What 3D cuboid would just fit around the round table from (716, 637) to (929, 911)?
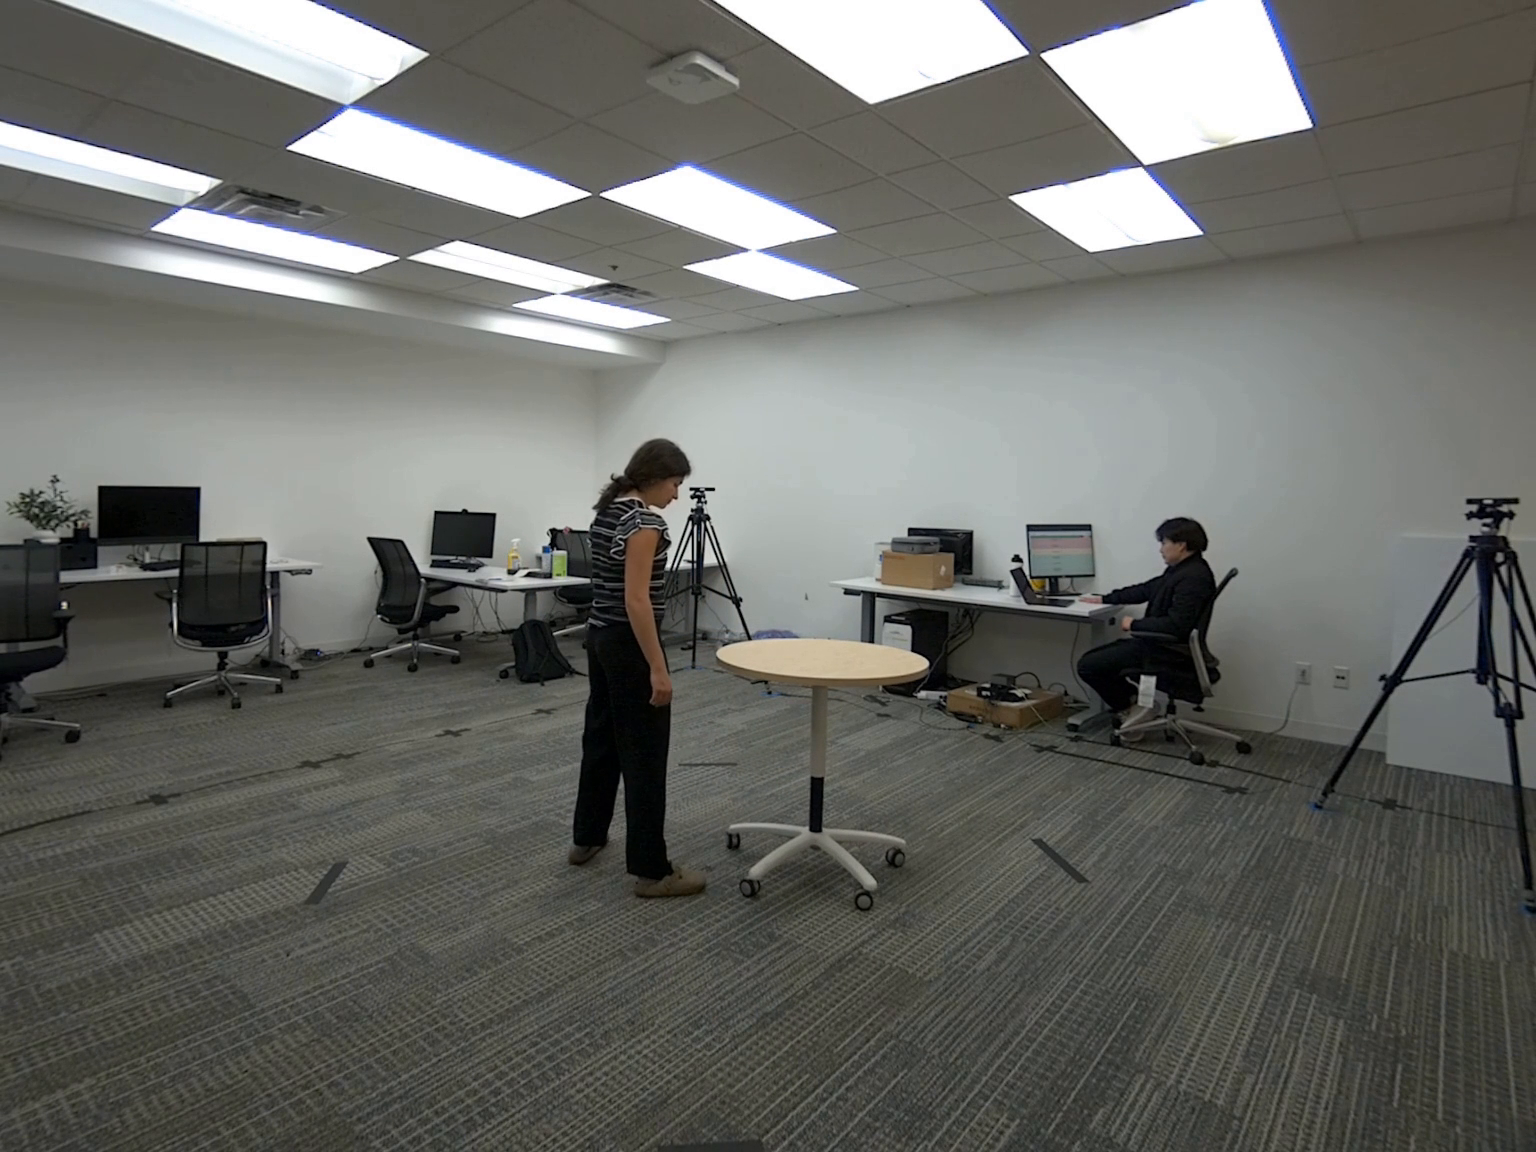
[{"bbox_3d":[0.176,0.685,3.101,0.784,0.784,0.789,1,4,-2],"label":"round table"}]
